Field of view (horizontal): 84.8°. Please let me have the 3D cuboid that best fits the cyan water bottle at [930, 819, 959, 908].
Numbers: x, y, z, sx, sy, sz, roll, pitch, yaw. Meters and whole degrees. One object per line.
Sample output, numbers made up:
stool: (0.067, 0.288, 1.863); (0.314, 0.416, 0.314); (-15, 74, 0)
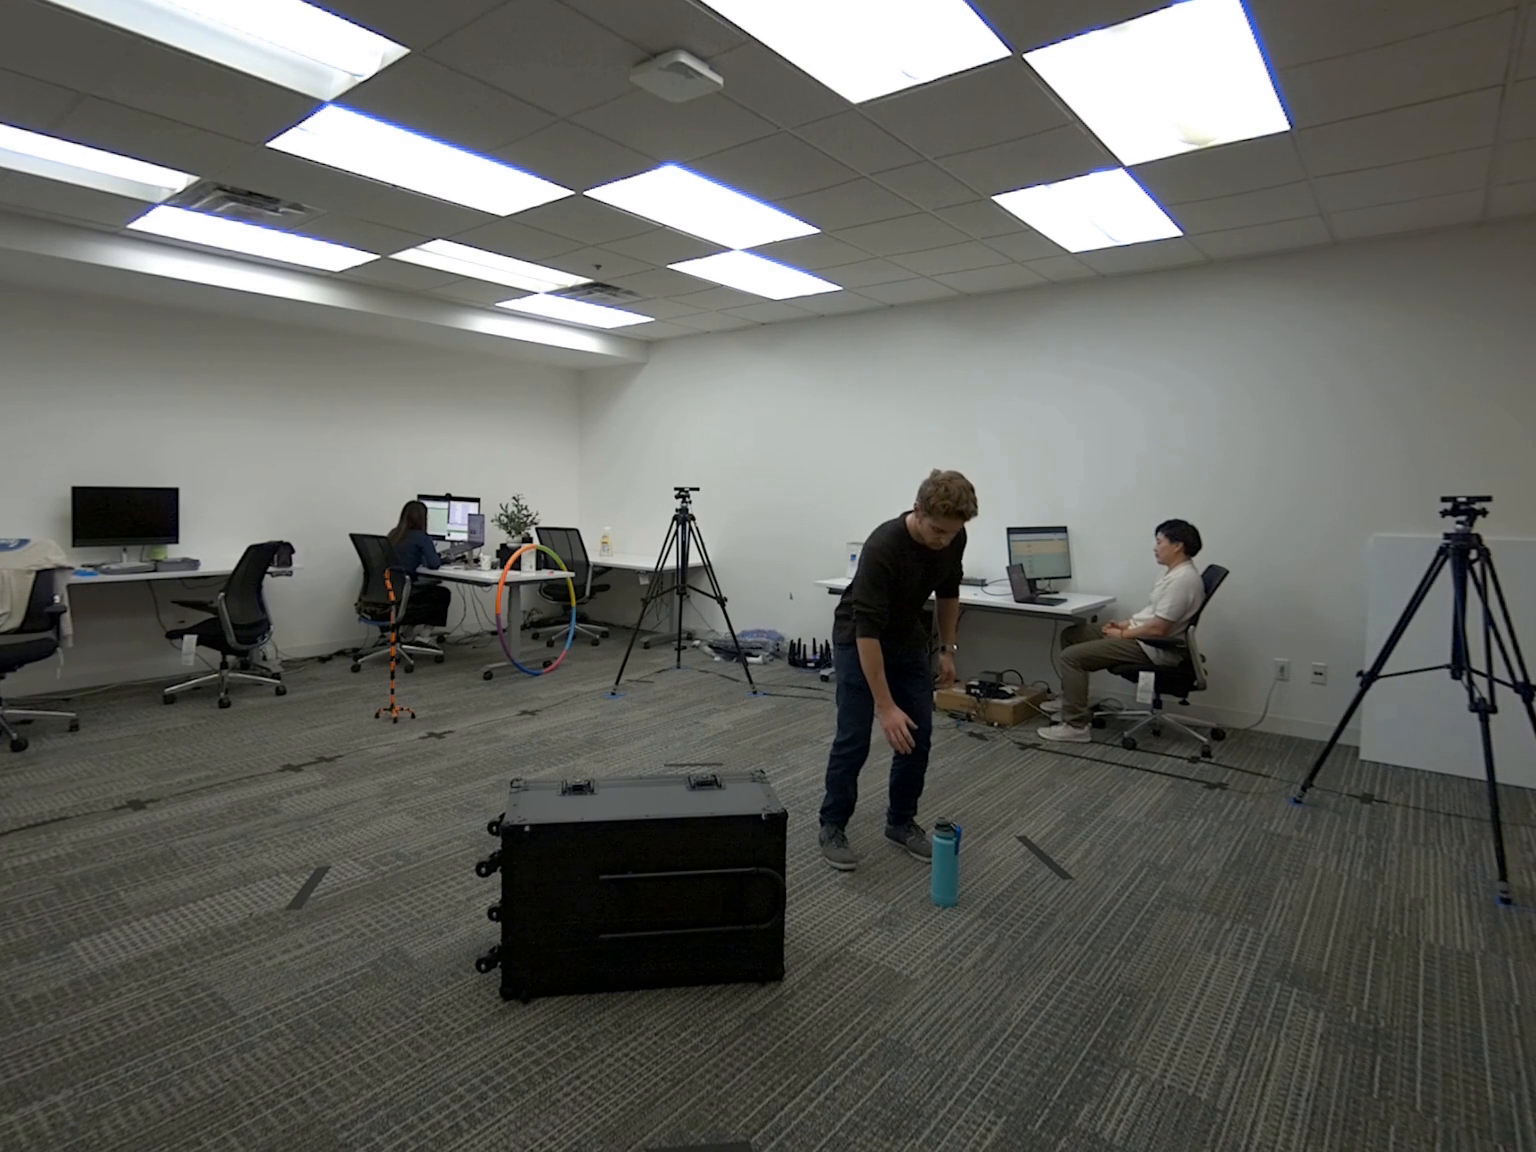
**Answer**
cyan water bottle: (0.603, 0.968, 2.894); (0.092, 0.282, 0.093); (3, 6, -2)
